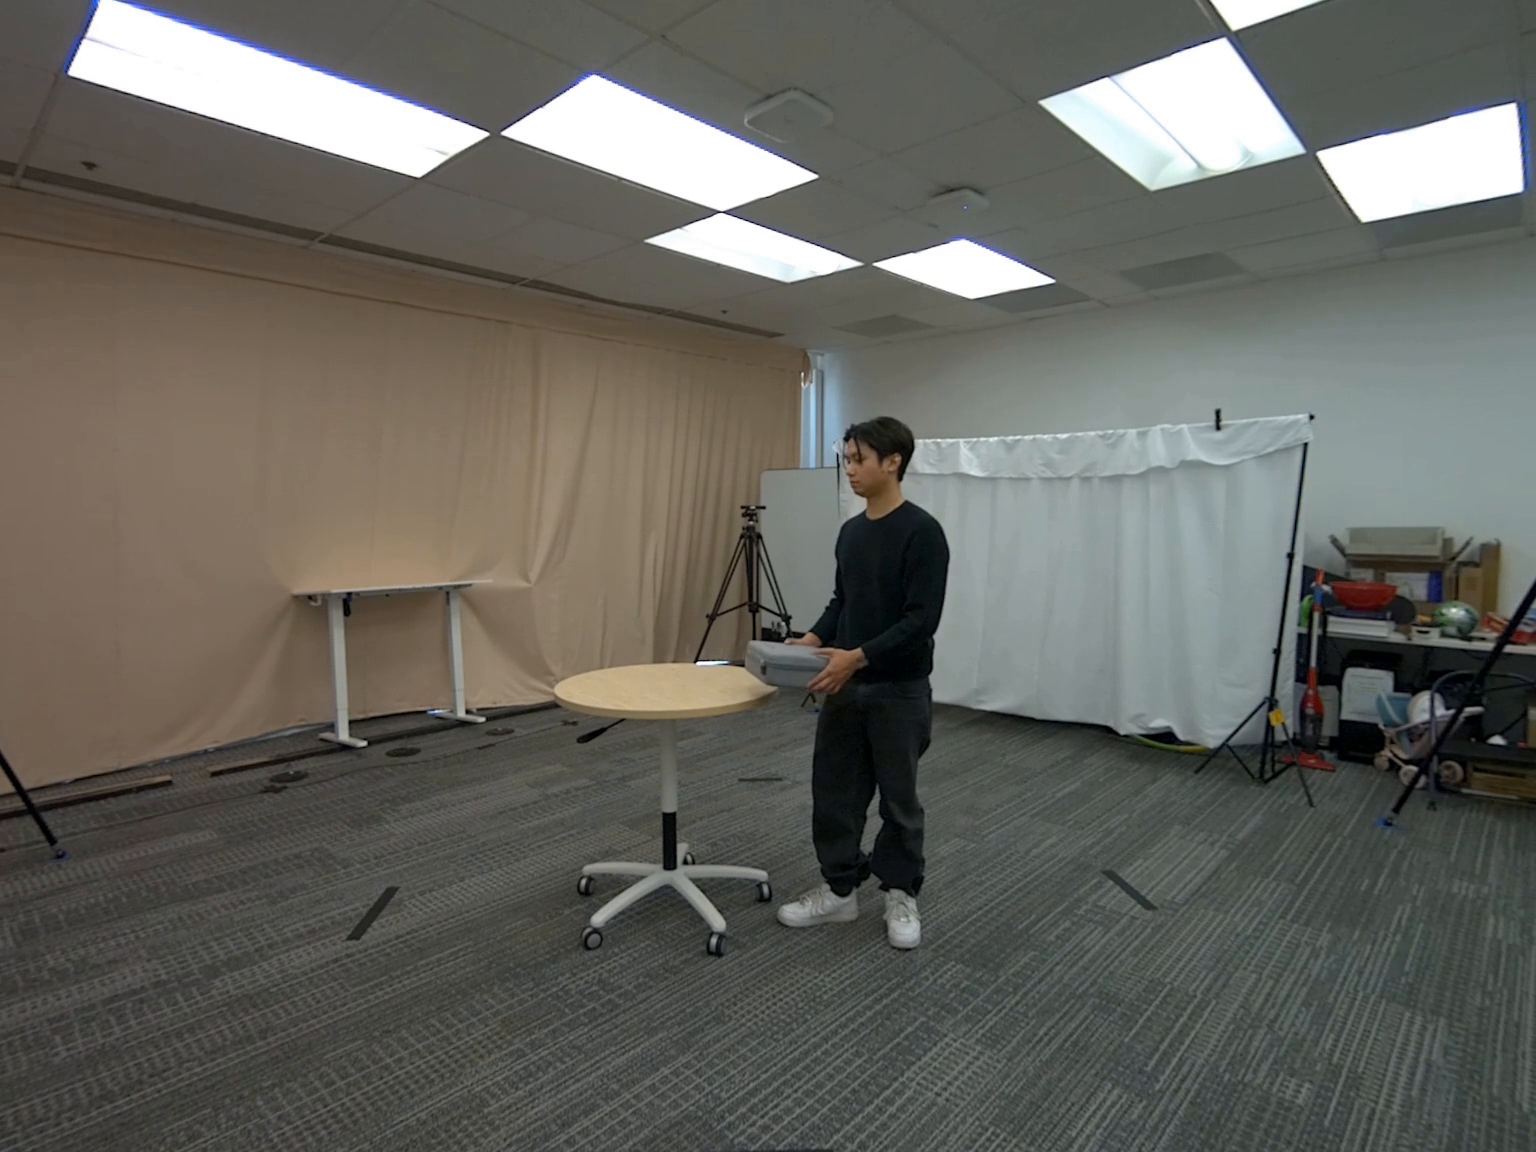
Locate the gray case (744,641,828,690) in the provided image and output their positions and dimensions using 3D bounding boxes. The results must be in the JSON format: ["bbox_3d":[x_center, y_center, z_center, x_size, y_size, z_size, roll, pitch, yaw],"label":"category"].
[{"bbox_3d":[0.086,0.280,2.642,0.259,0.104,0.259,6,0,-7],"label":"gray case"}]
